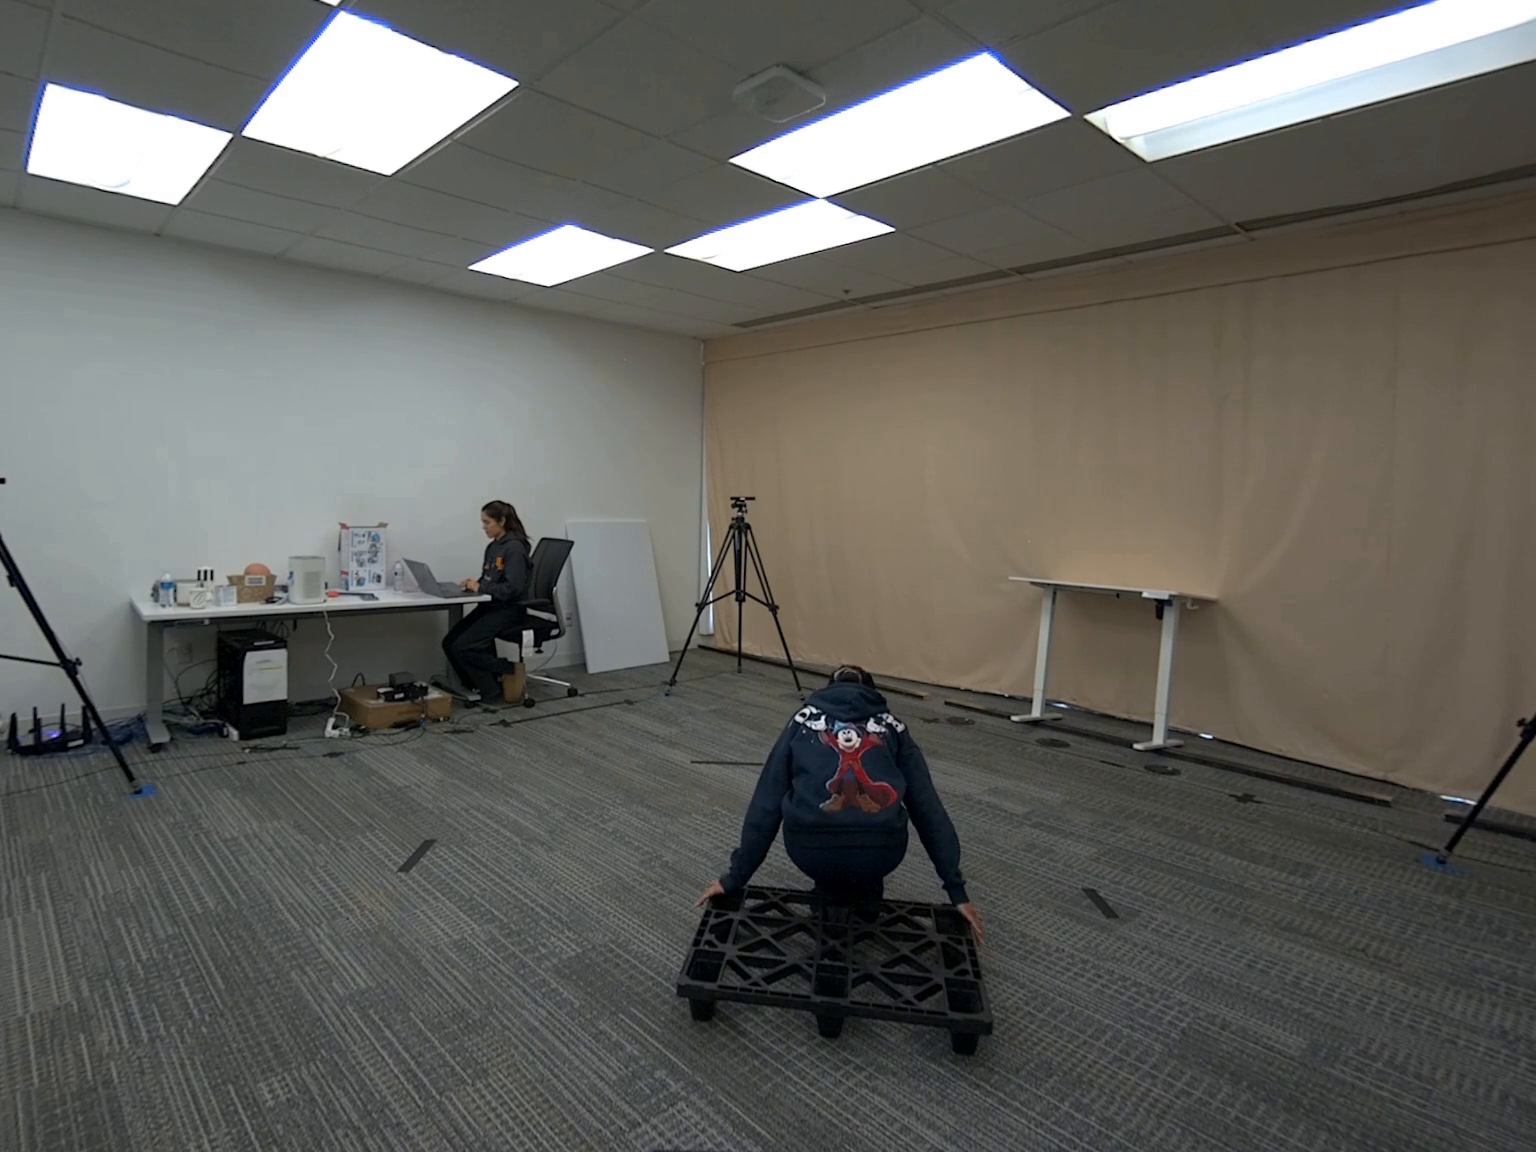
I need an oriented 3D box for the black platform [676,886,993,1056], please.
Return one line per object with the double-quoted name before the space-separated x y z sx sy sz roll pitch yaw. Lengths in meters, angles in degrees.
"black platform" 0.185 1.111 2.404 0.811 0.143 0.604 2 7 8
